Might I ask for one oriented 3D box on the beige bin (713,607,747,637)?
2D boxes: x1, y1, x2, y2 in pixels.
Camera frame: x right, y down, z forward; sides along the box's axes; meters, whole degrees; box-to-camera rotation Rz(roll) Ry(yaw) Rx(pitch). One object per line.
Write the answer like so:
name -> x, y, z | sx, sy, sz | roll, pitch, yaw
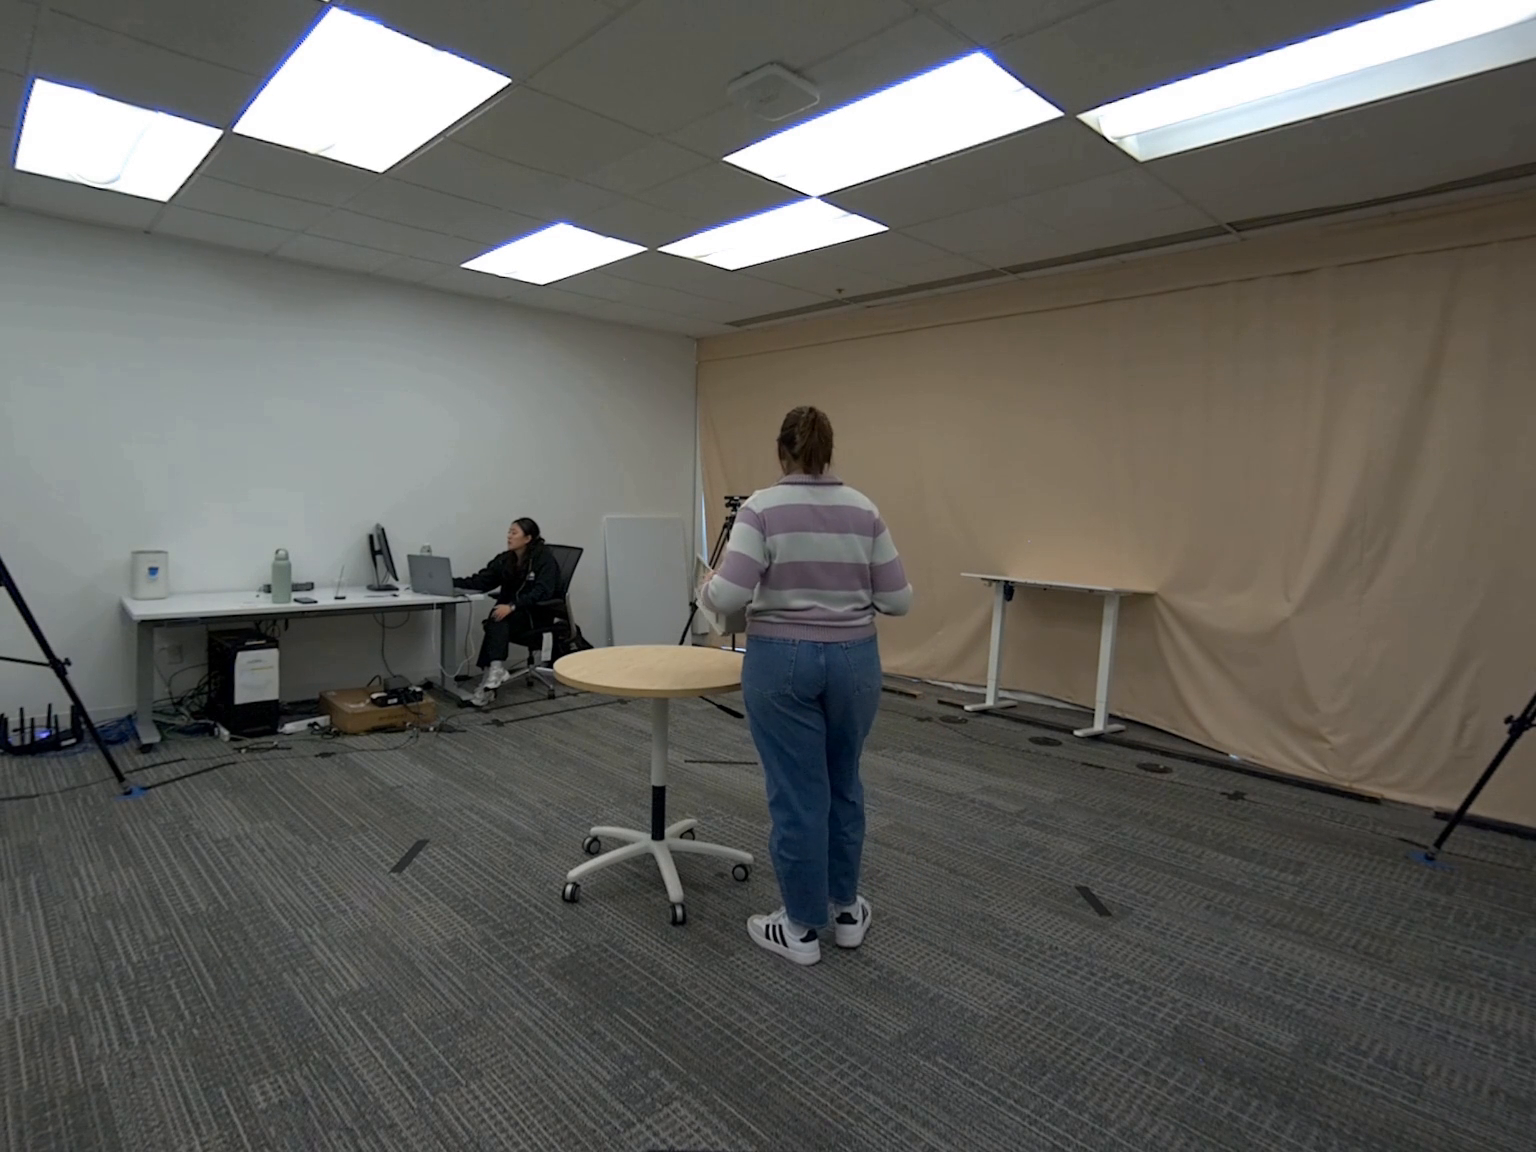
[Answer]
beige bin -> -0.006, 0.049, 2.853 | 0.416, 0.187, 0.387 | -1, 18, -19
